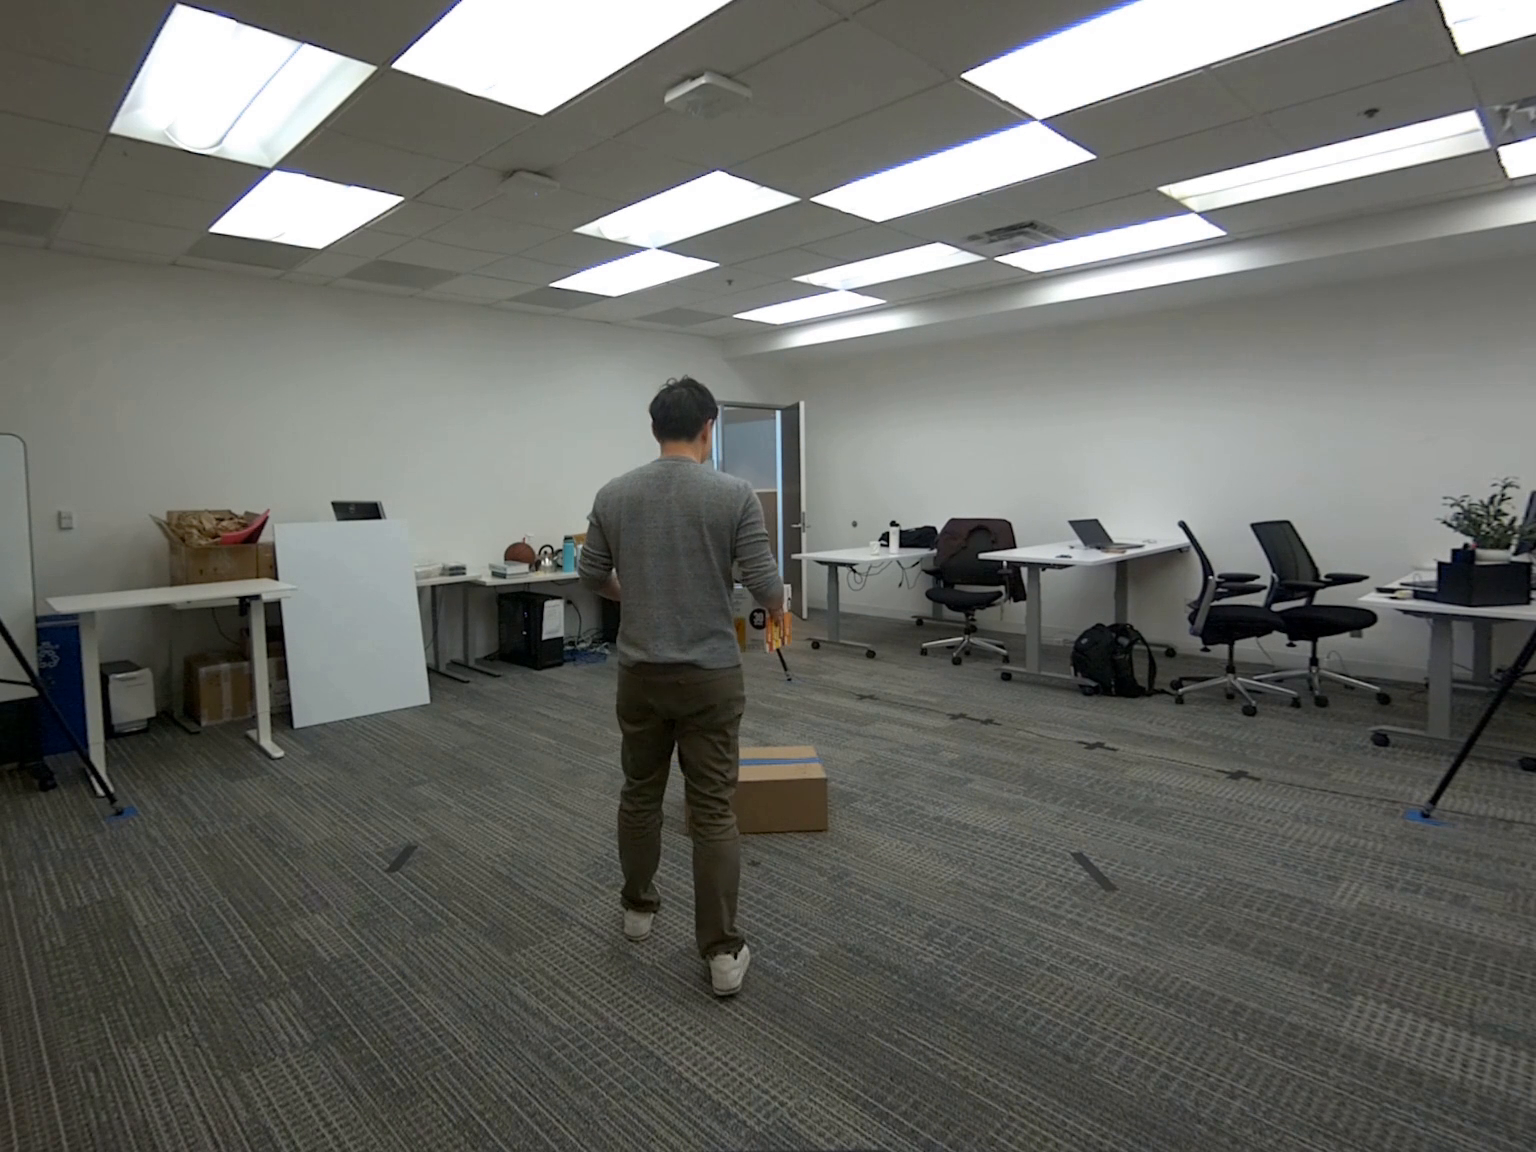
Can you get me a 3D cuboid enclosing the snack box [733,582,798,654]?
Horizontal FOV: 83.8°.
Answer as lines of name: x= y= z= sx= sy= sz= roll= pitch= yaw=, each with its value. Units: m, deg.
snack box: x=-0.148 y=0.132 z=2.834 sx=0.412 sy=0.206 sz=0.334 roll=-1 pitch=0 yaw=19
